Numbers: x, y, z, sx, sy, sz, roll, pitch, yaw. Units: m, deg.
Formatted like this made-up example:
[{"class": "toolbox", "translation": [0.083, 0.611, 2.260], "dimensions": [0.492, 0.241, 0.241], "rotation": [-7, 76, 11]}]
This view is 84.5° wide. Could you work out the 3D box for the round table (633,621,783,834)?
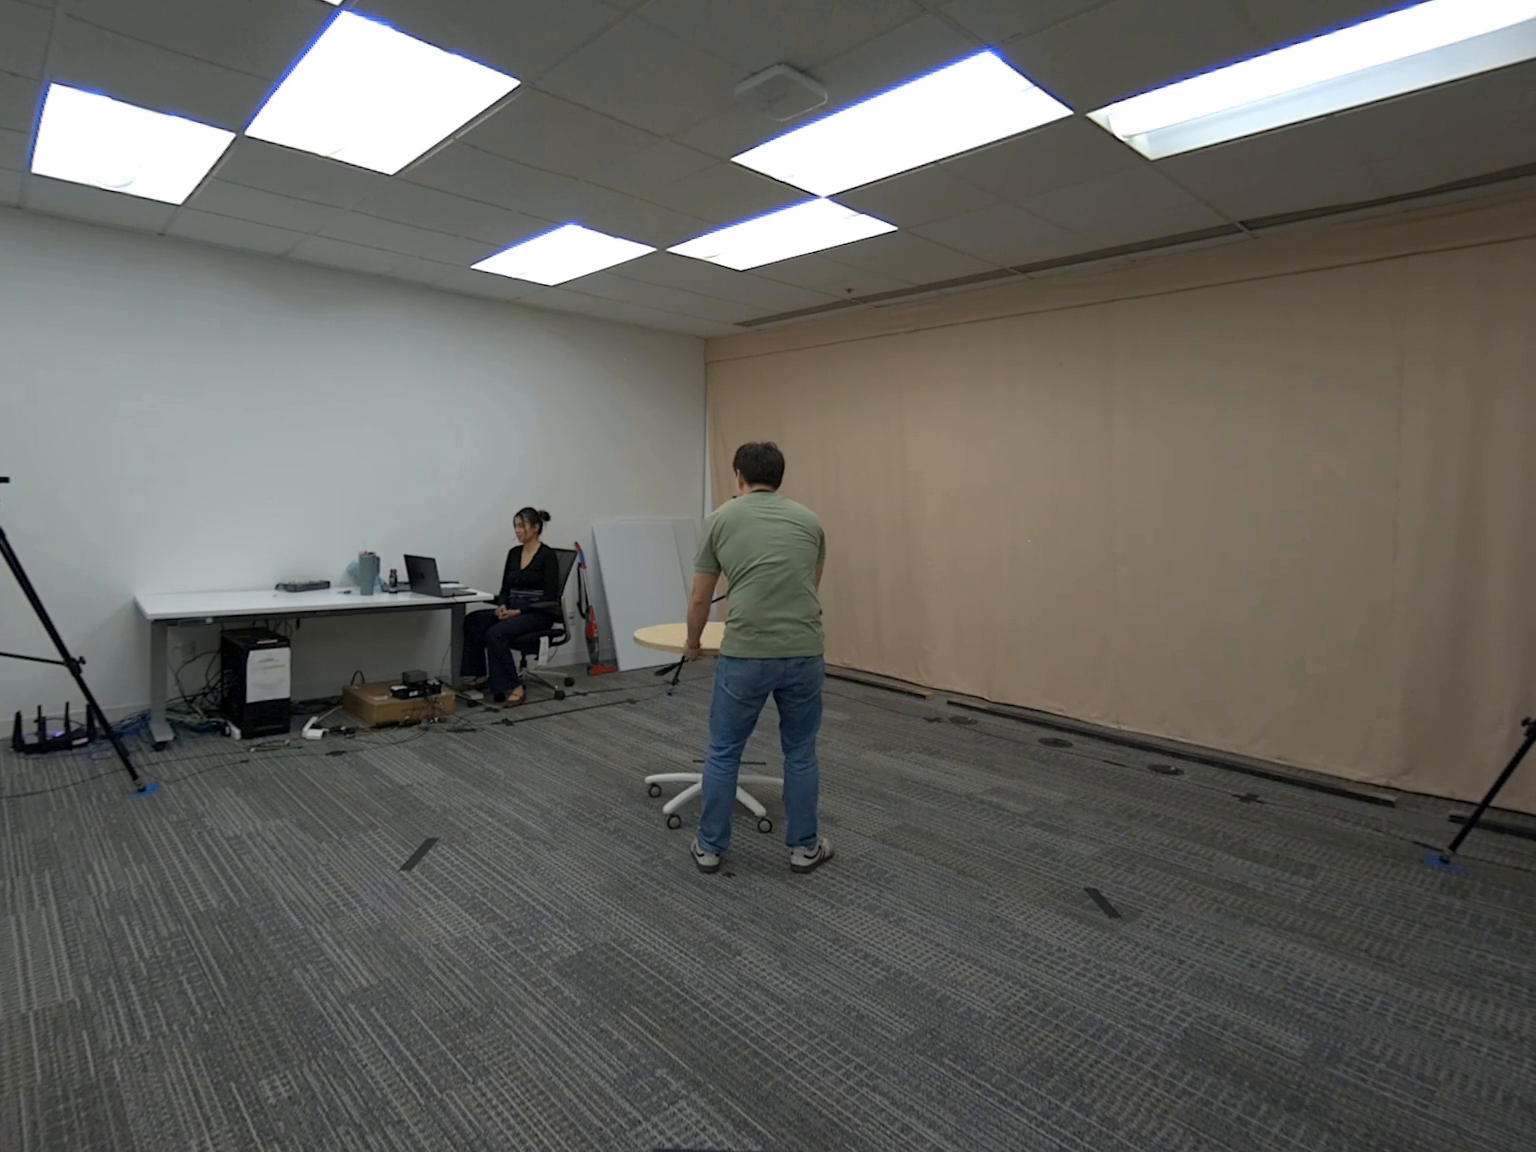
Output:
[{"class": "round table", "translation": [-0.226, 0.655, 3.768], "dimensions": [0.763, 0.792, 0.766], "rotation": [1, 4, -1]}]
